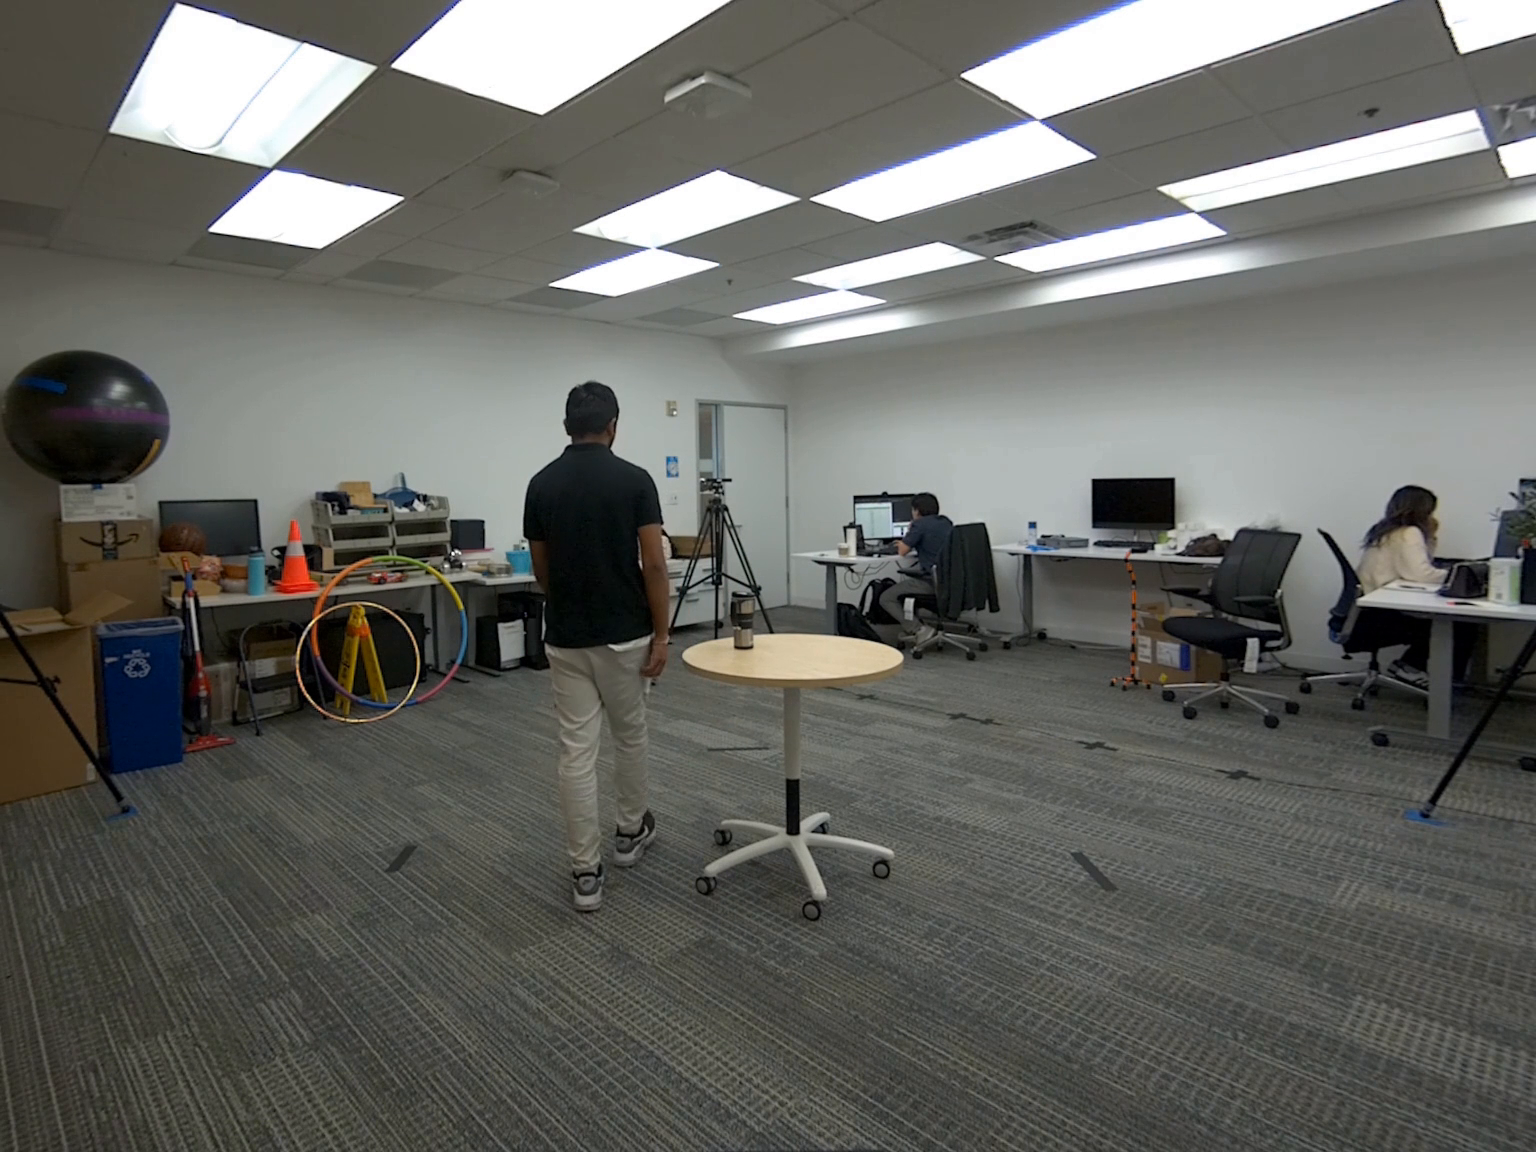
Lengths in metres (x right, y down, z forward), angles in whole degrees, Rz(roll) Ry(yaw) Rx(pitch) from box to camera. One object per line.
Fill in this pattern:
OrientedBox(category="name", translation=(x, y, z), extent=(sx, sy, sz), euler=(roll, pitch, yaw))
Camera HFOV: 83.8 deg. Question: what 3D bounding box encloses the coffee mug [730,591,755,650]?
OrientedBox(category="coffee mug", translation=(-0.105, 0.162, 3.080), extent=(0.119, 0.202, 0.091), euler=(-1, 8, -34))
